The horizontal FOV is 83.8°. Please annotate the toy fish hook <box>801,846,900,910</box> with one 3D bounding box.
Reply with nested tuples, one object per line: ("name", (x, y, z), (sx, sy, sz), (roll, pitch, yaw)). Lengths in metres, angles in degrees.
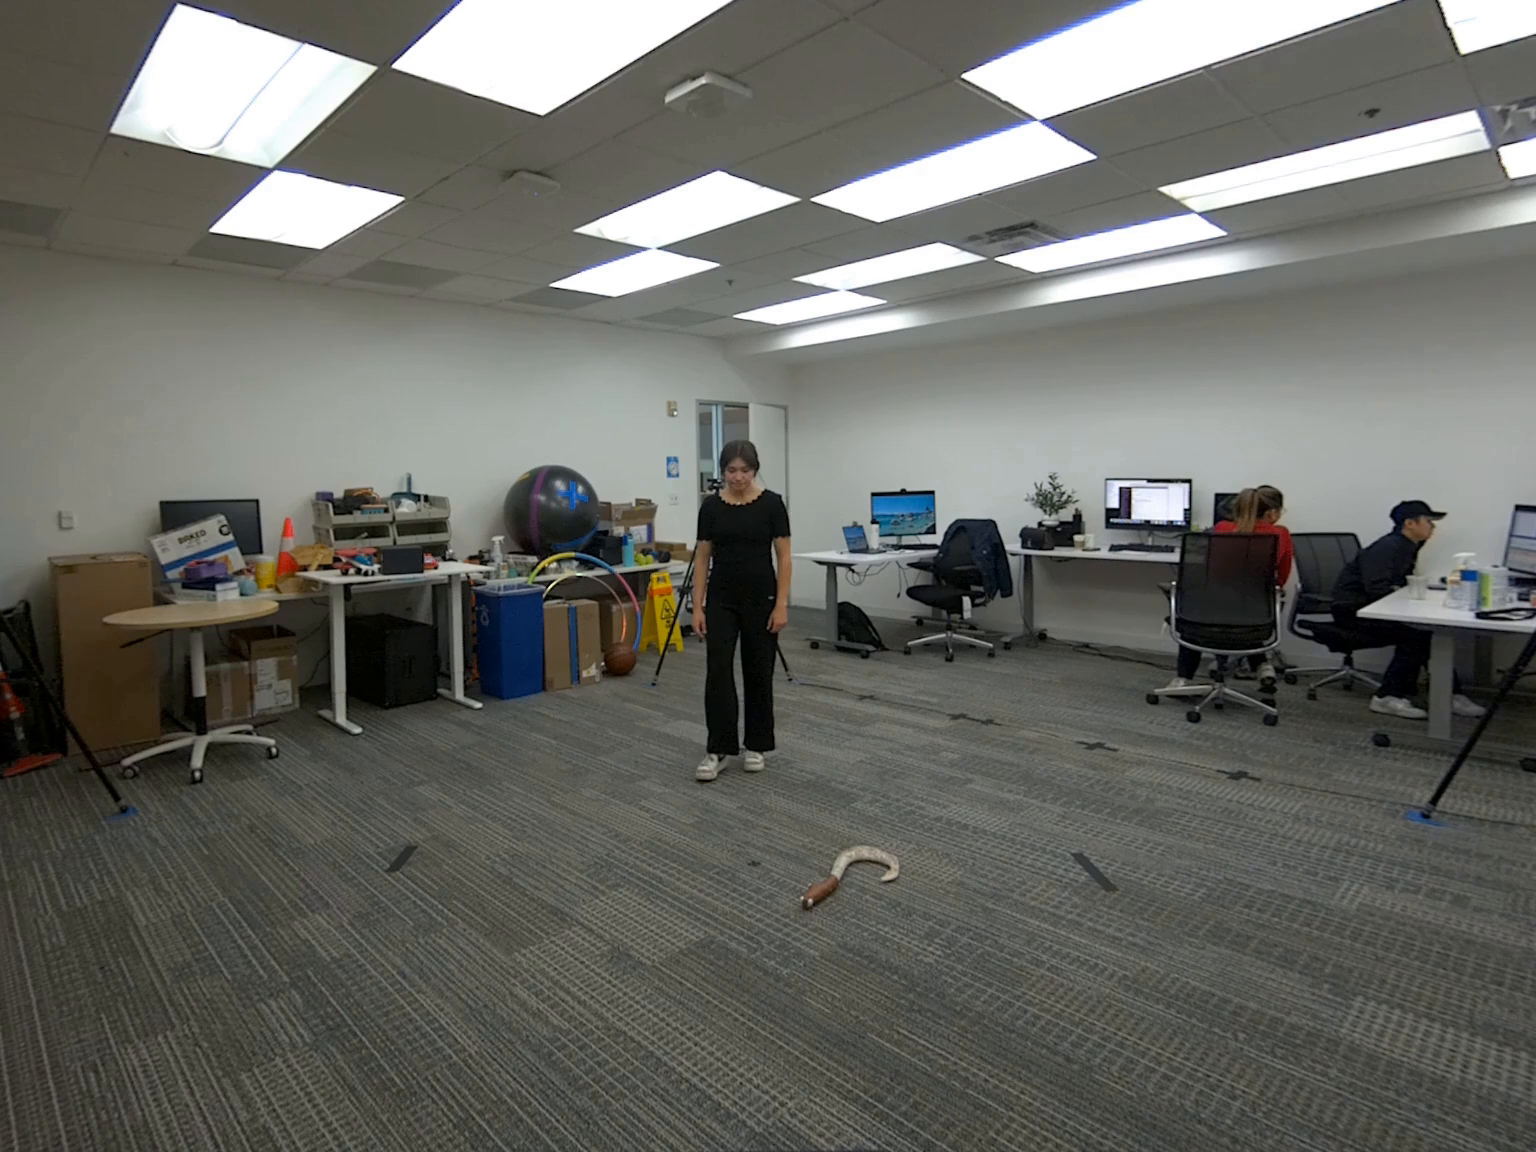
("toy fish hook", (0.292, 1.038, 2.924), (0.231, 0.048, 0.495), (2, 7, 32))
